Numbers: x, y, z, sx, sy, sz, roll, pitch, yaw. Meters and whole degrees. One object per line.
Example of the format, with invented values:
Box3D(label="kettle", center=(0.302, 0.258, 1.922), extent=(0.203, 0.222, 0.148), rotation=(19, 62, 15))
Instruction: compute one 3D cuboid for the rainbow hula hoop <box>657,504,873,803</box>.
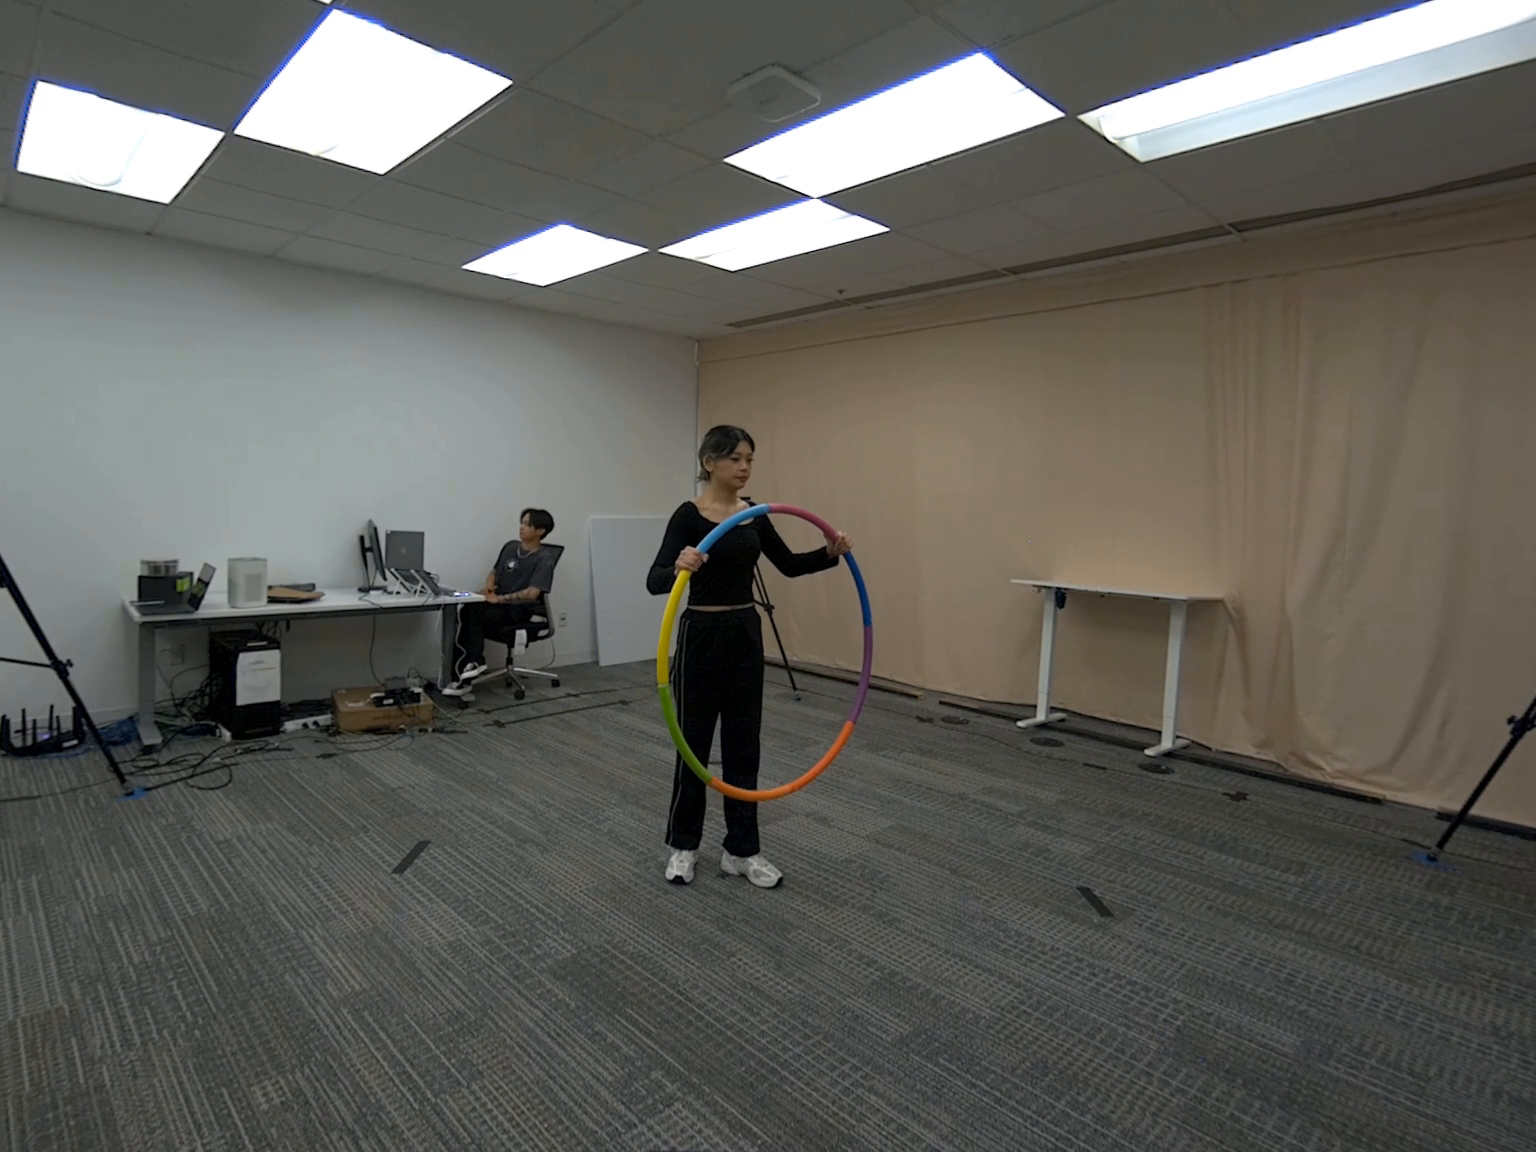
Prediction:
Box3D(label="rainbow hula hoop", center=(0.014, 0.252, 2.849), extent=(0.957, 0.977, 0.036), rotation=(-2, 2, -39))
